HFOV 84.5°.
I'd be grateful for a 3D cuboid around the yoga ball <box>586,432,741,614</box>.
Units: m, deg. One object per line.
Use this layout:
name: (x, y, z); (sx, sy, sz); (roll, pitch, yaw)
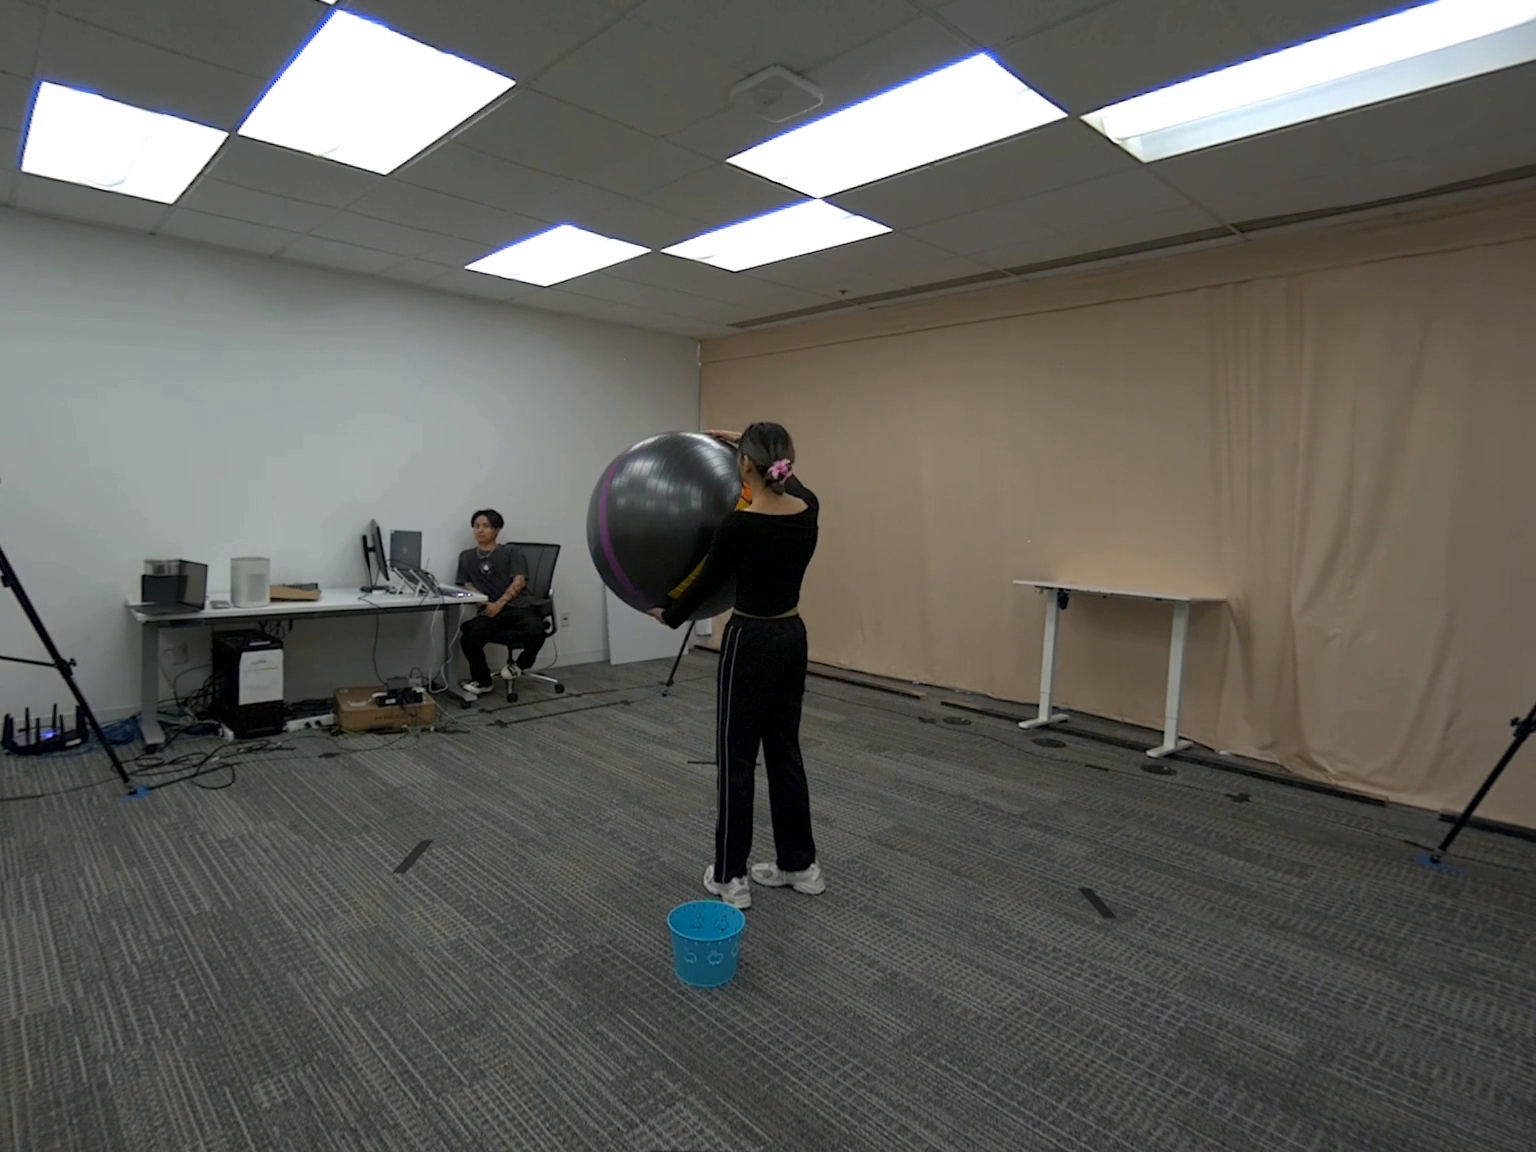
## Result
yoga ball: (-0.345, -0.192, 3.355); (0.757, 0.756, 0.761); (1, 4, -1)
